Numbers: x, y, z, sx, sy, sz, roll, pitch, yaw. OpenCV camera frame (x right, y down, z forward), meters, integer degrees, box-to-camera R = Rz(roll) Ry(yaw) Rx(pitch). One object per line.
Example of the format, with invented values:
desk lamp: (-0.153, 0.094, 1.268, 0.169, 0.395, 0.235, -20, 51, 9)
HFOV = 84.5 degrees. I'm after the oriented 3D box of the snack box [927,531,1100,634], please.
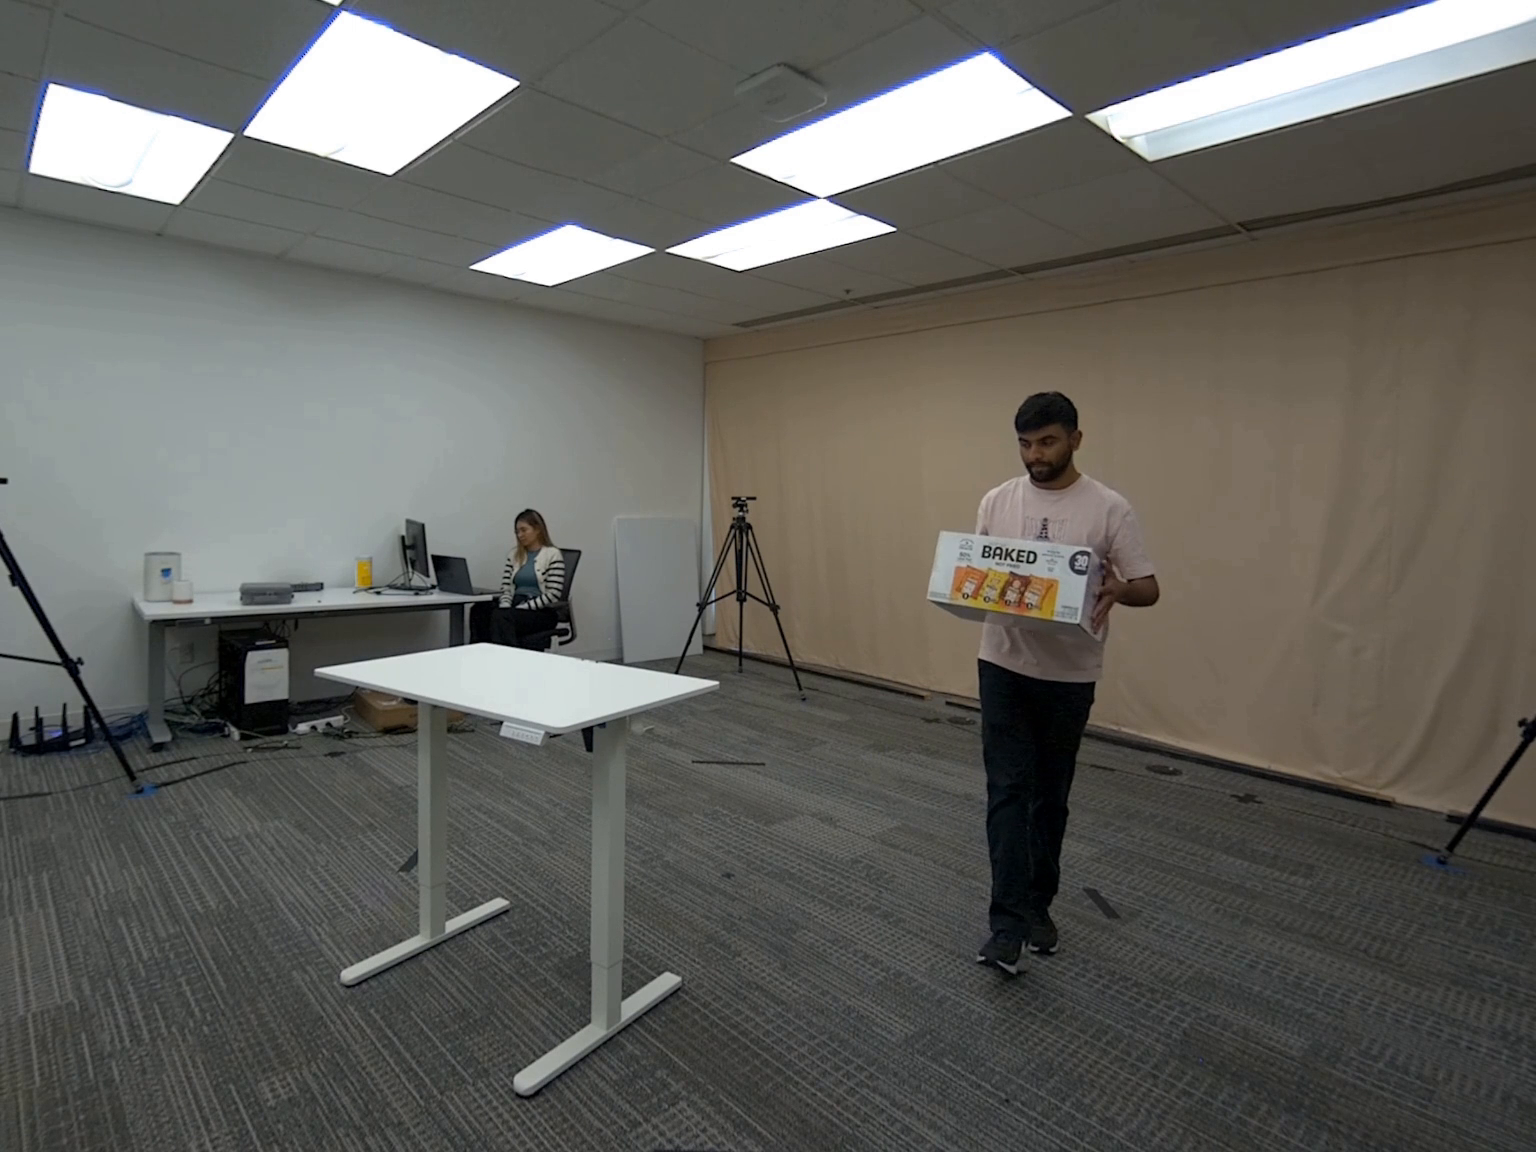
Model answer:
snack box: (0.713, 0.031, 2.383, 0.415, 0.206, 0.331, 9, -7, 32)
